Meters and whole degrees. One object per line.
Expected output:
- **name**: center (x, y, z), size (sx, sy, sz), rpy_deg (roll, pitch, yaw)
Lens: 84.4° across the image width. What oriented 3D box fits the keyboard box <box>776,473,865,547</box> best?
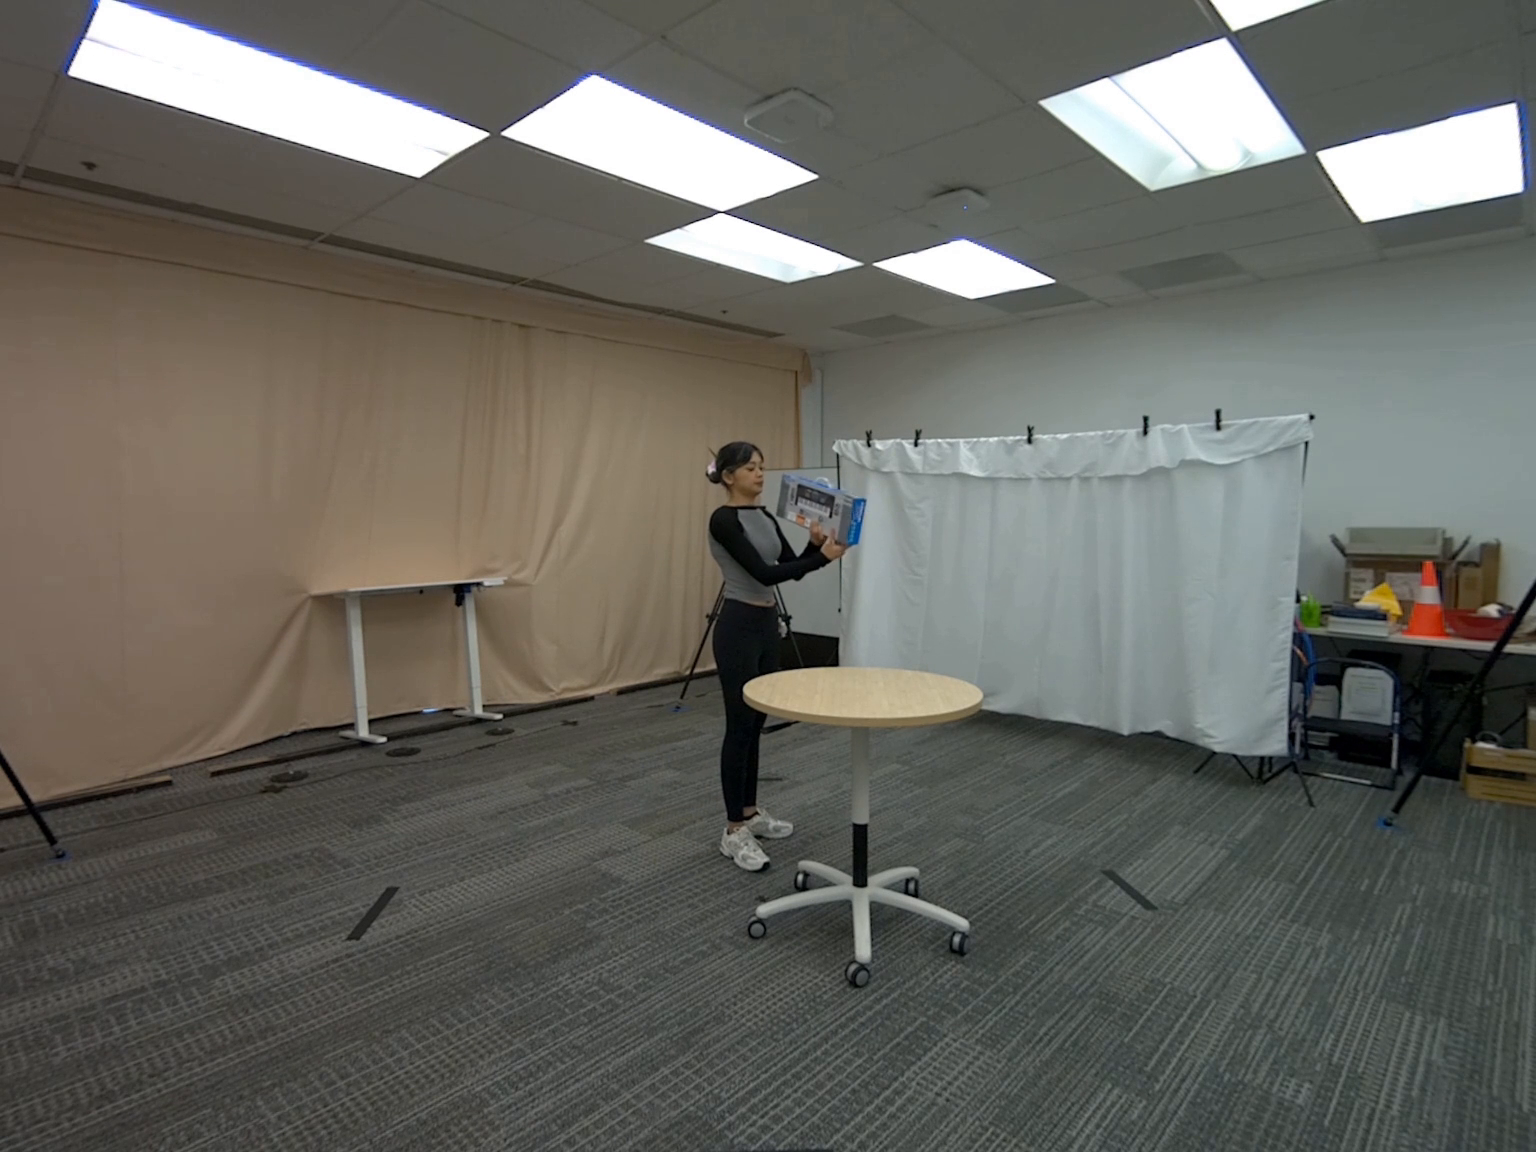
- **keyboard box**: center (0.199, -0.259, 3.207), size (0.057, 0.175, 0.453), rpy_deg (-1, 17, -36)
